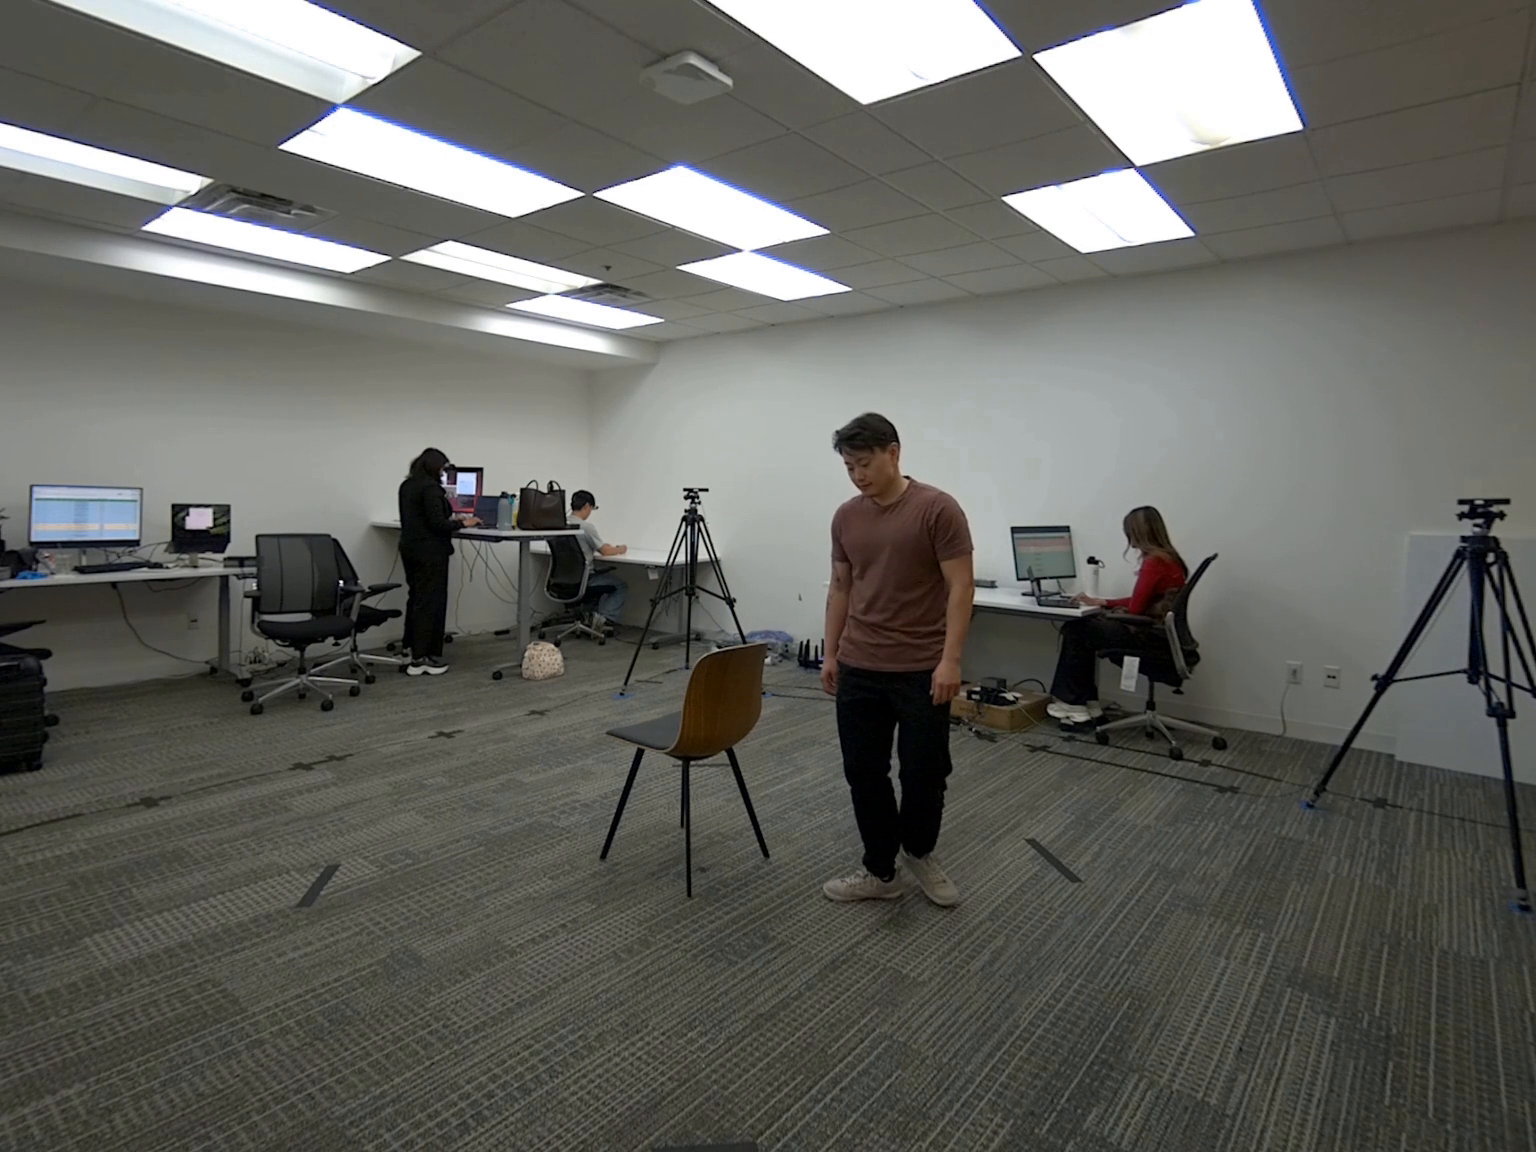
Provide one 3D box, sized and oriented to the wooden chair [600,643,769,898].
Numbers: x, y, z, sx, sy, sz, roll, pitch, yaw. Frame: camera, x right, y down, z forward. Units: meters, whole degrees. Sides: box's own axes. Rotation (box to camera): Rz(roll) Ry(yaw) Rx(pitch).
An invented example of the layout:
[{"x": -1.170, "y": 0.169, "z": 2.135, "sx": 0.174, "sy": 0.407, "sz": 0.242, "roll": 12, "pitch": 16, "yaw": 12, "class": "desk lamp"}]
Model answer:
[{"x": -0.318, "y": 0.633, "z": 3.178, "sx": 0.542, "sy": 0.873, "sz": 0.464, "roll": 9, "pitch": 8, "yaw": 38, "class": "wooden chair"}]
